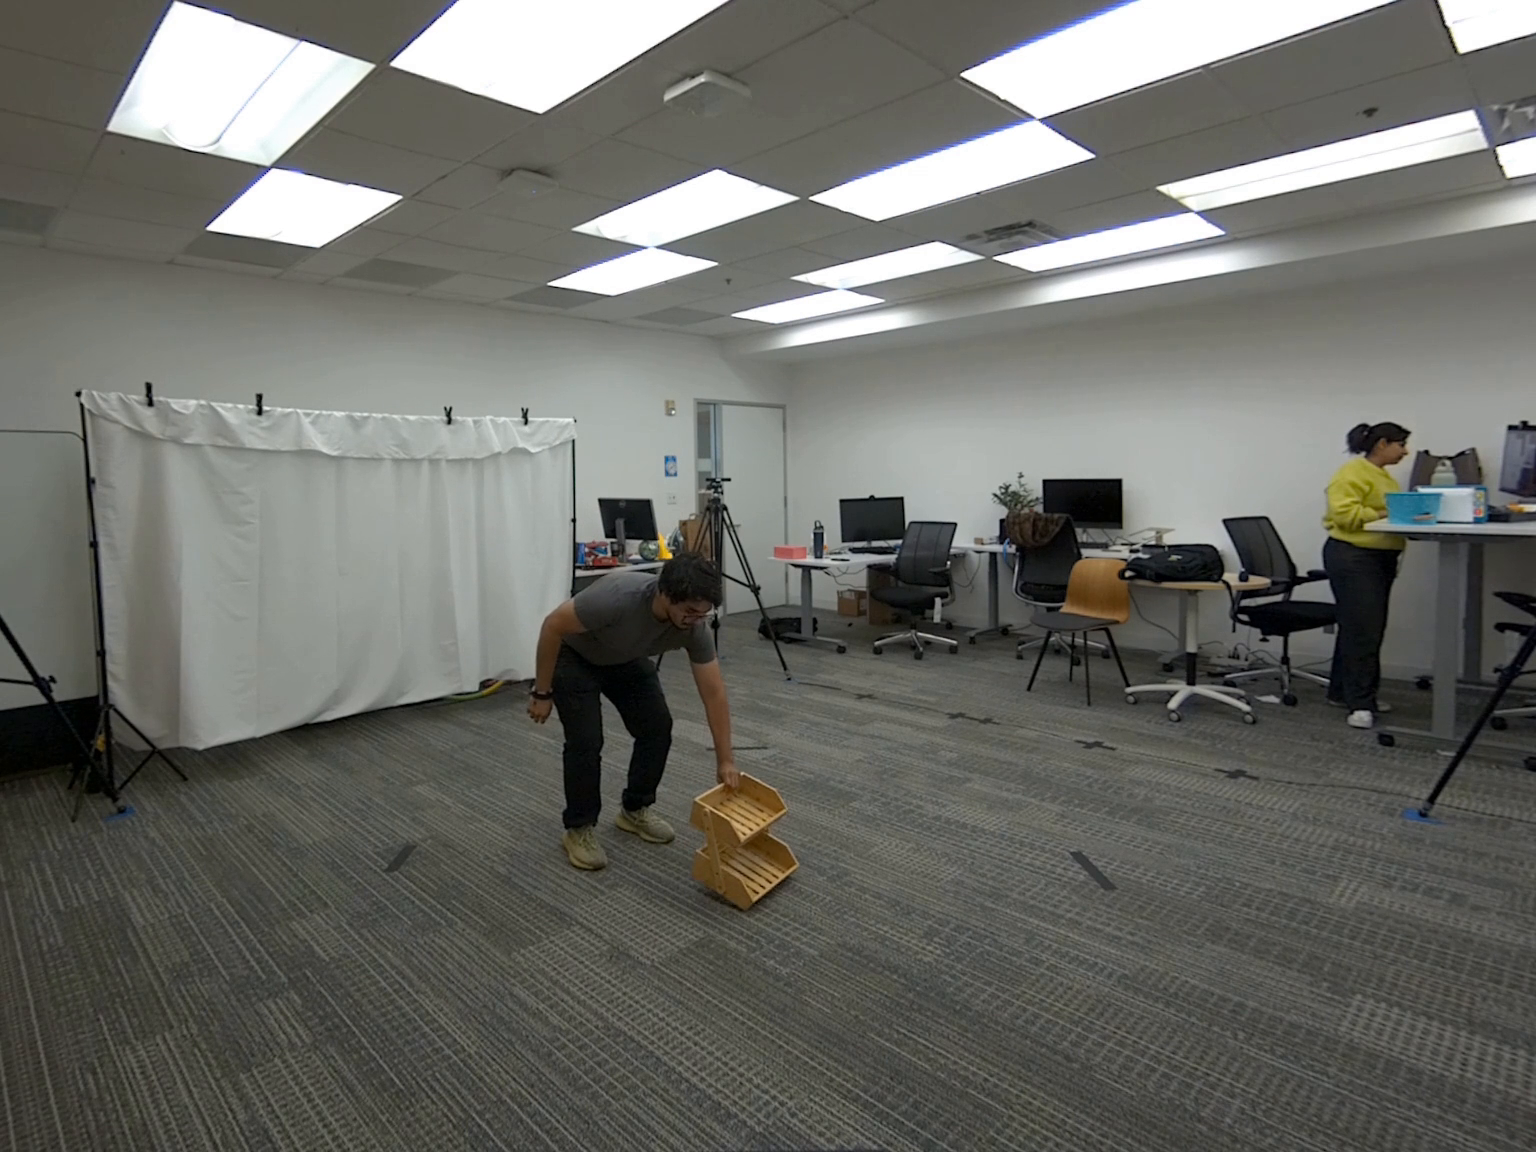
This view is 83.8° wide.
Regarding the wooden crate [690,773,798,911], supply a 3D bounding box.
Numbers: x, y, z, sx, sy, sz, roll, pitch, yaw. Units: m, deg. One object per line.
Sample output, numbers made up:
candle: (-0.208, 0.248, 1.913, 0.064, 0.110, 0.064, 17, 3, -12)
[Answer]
wooden crate: (-0.069, 0.885, 2.911, 0.312, 0.271, 0.317, 20, 16, 30)
